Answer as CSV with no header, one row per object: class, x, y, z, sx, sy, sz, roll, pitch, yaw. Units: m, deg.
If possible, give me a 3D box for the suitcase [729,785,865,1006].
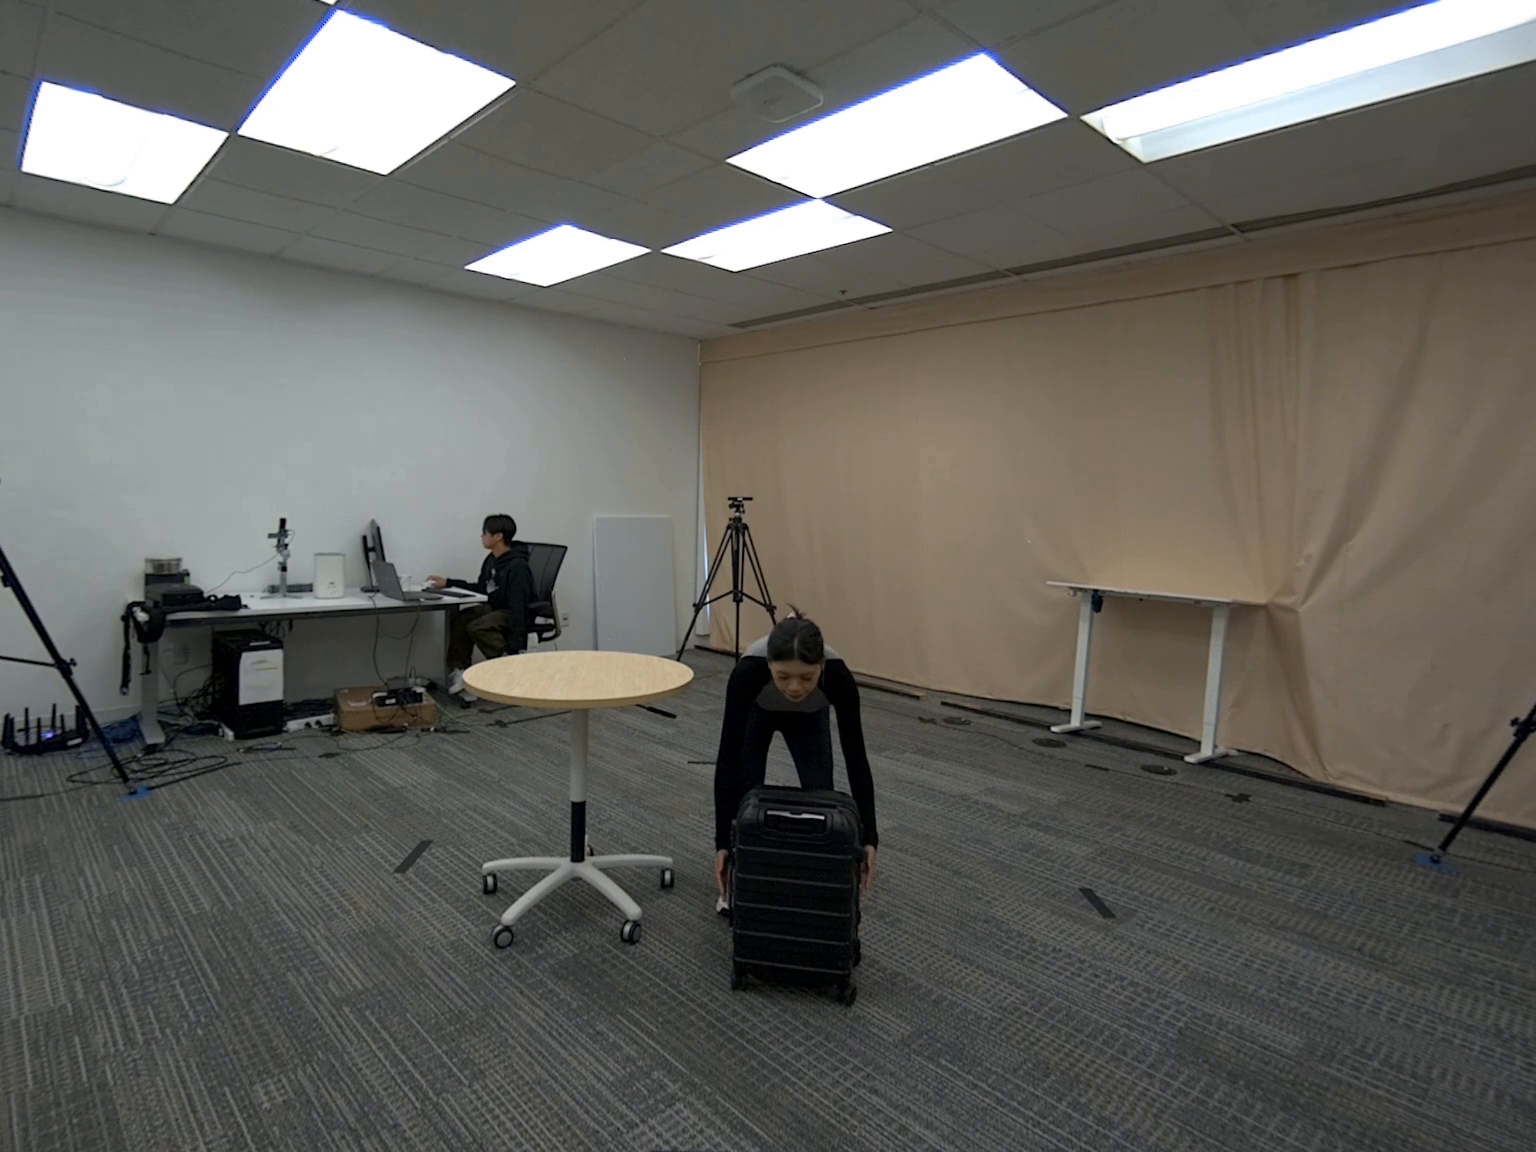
suitcase,0.071,0.901,2.434,0.379,0.547,0.247,3,5,10
